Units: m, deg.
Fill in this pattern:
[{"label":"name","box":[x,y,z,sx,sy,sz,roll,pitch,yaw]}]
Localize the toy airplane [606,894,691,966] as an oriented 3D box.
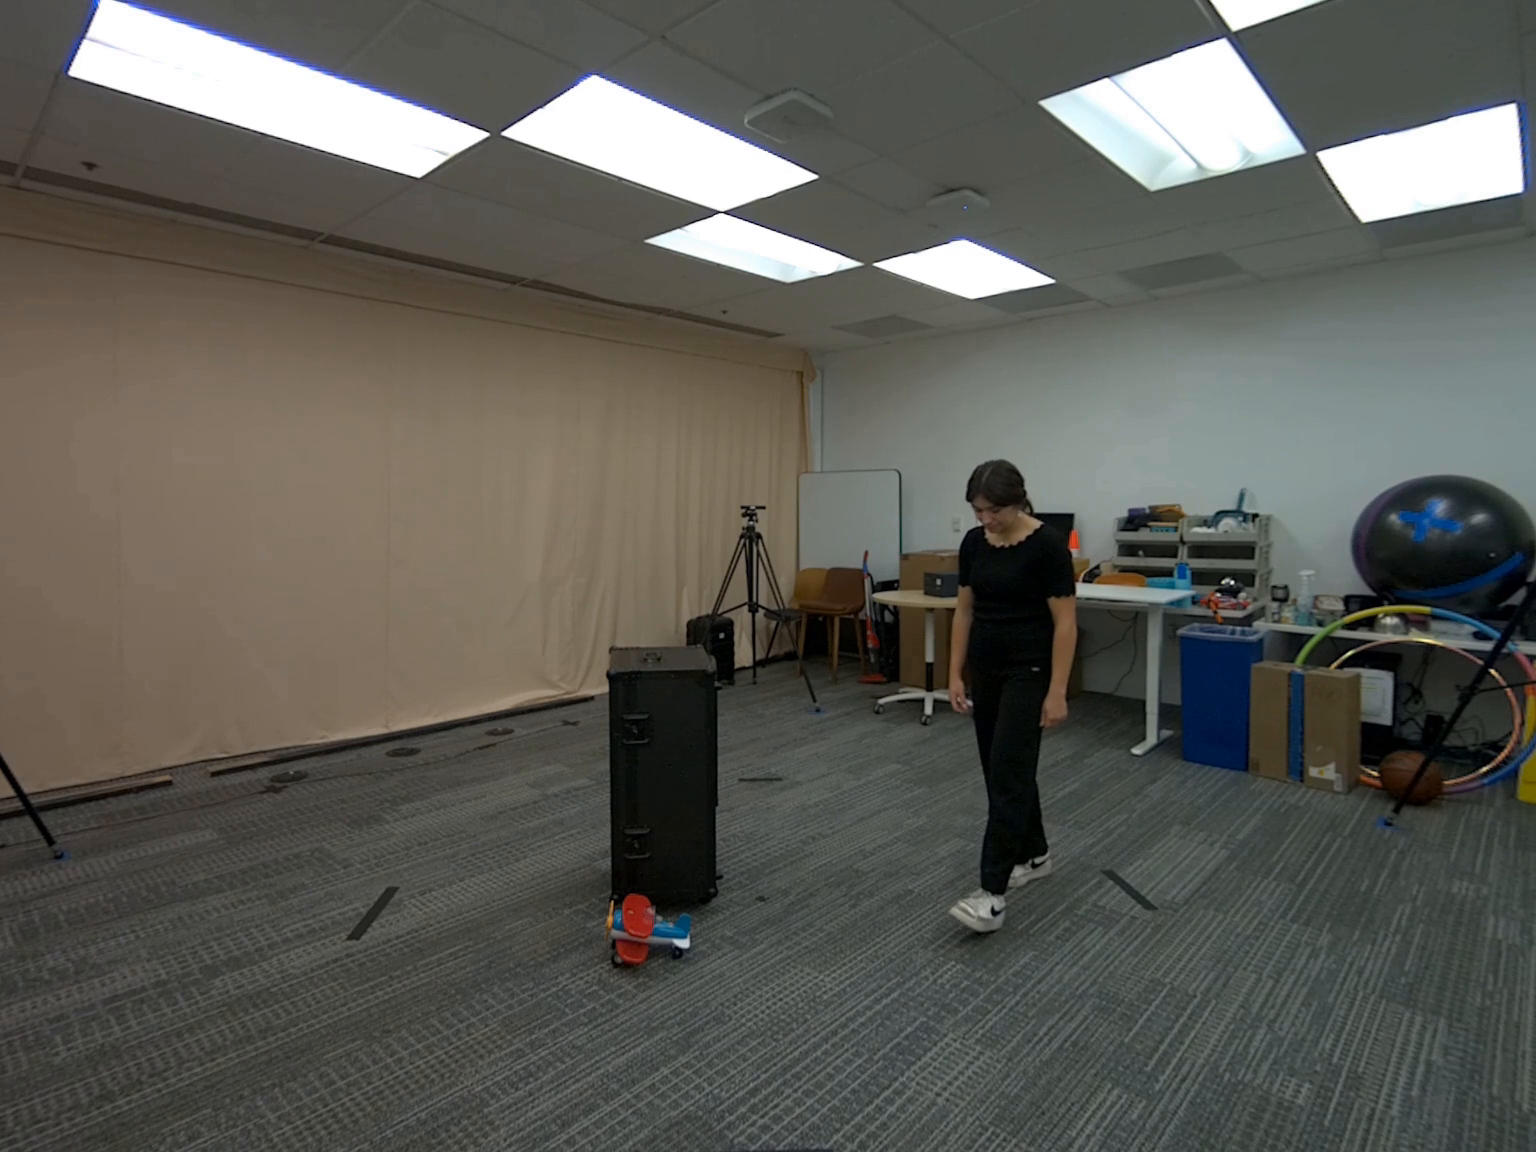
[{"label":"toy airplane","box":[-0.380,1.099,2.615,0.252,0.156,0.259,-4,6,-34]}]
